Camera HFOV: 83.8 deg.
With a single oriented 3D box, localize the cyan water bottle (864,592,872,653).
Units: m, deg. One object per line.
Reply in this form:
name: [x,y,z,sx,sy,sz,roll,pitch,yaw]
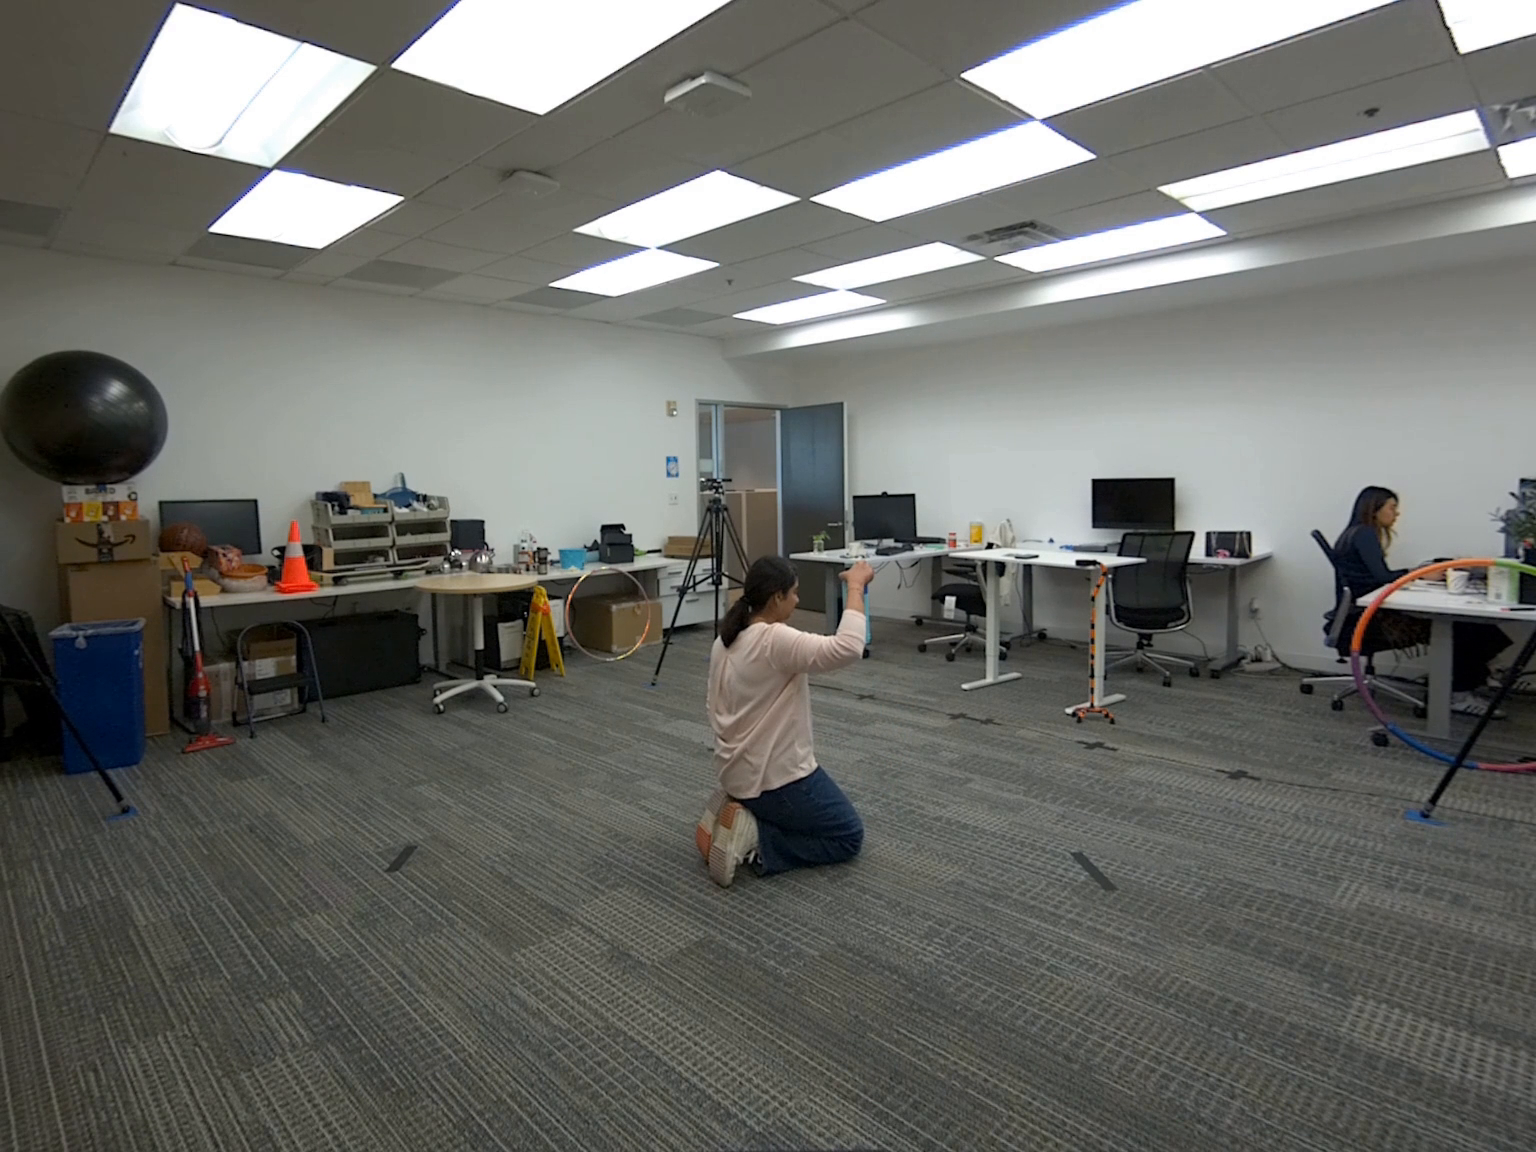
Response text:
cyan water bottle: [0.313,0.094,3.002,0.092,0.282,0.093,-2,5,-1]
